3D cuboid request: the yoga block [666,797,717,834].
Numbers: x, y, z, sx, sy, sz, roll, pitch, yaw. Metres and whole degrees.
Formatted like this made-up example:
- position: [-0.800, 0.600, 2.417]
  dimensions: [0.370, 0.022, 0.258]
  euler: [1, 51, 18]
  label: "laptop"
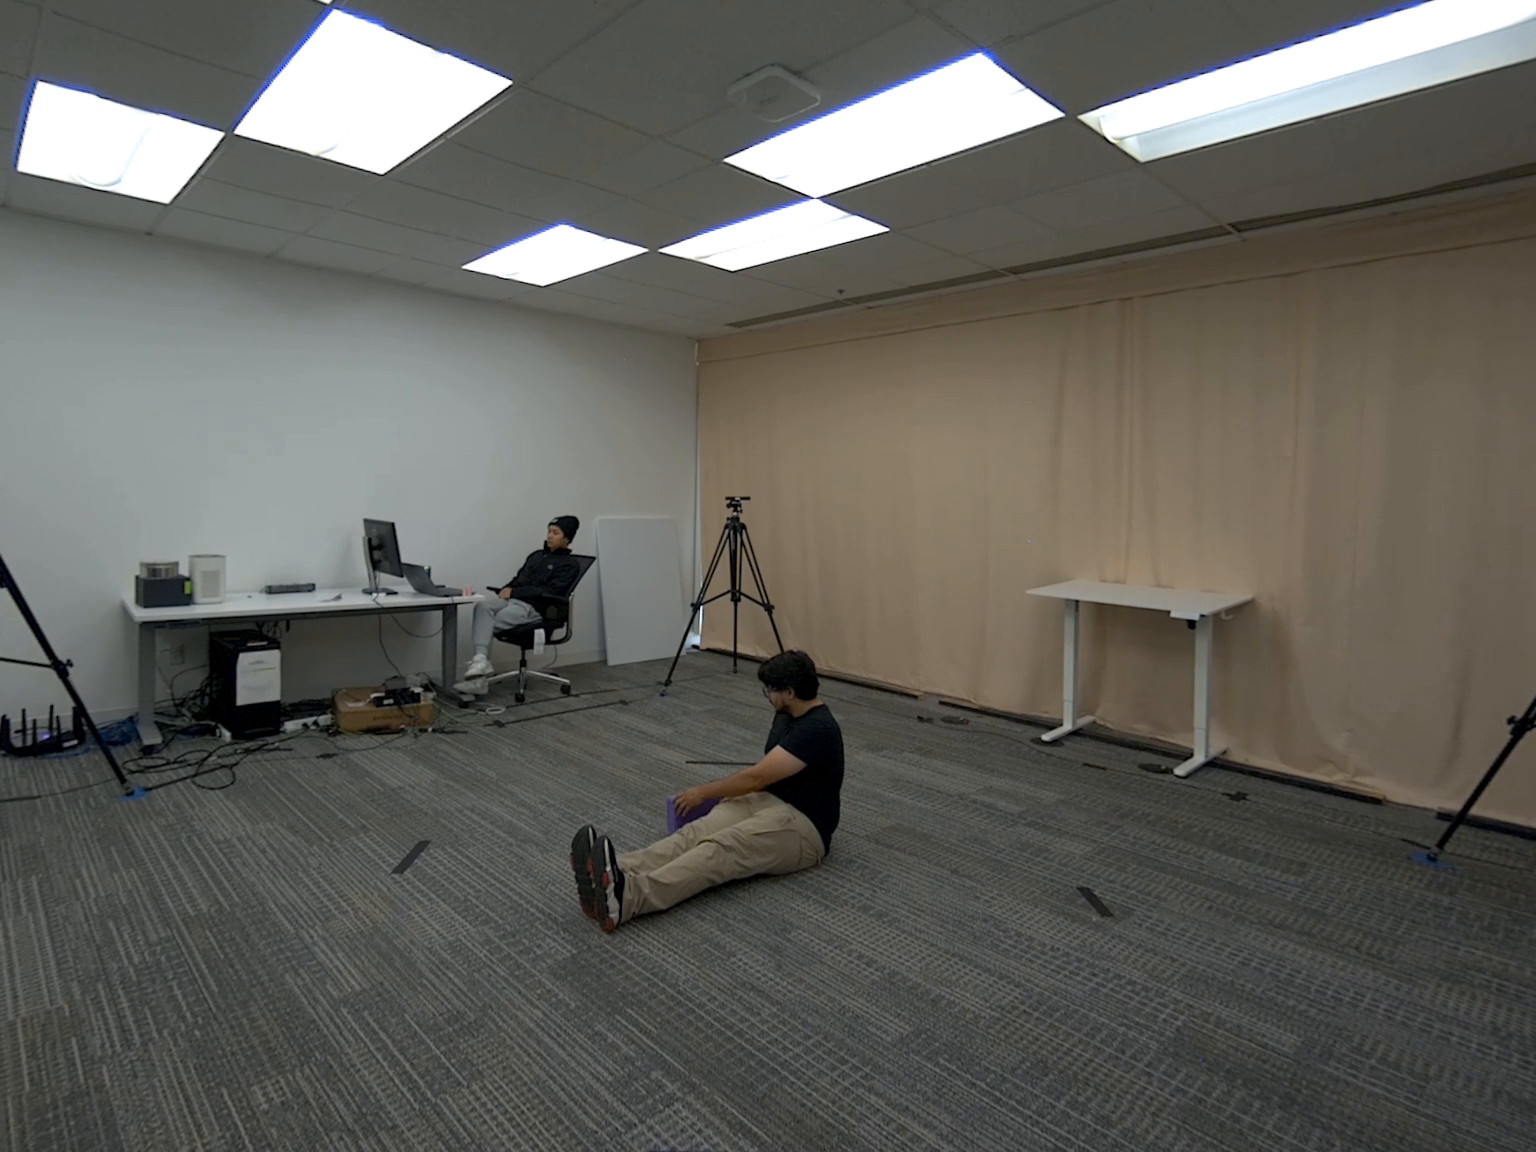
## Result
- position: [-0.297, 0.977, 3.493]
  dimensions: [0.224, 0.149, 0.078]
  euler: [-2, 0, -33]
  label: "yoga block"
